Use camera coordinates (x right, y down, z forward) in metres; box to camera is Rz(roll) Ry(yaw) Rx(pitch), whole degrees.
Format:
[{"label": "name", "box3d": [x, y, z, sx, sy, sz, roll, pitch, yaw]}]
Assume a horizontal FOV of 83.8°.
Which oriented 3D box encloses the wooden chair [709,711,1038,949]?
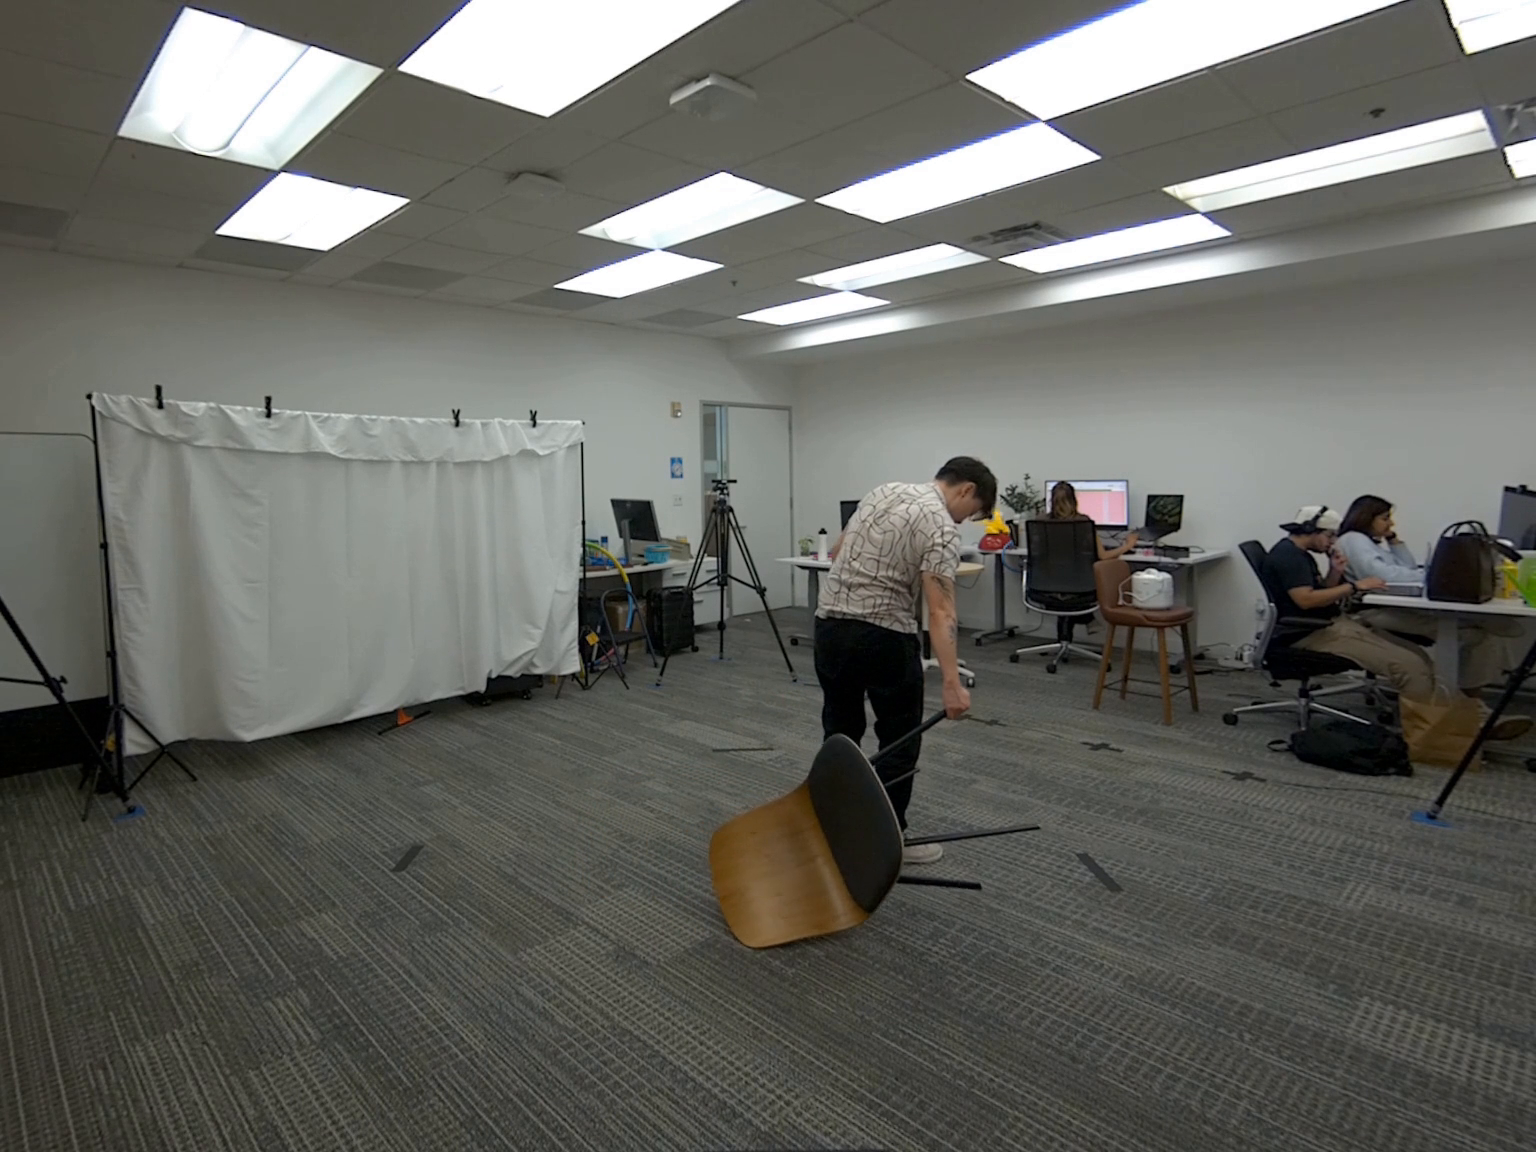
[{"label": "wooden chair", "box3d": [0.282, 0.778, 2.632, 0.865, 0.495, 0.512, -10, -38, -18]}]
